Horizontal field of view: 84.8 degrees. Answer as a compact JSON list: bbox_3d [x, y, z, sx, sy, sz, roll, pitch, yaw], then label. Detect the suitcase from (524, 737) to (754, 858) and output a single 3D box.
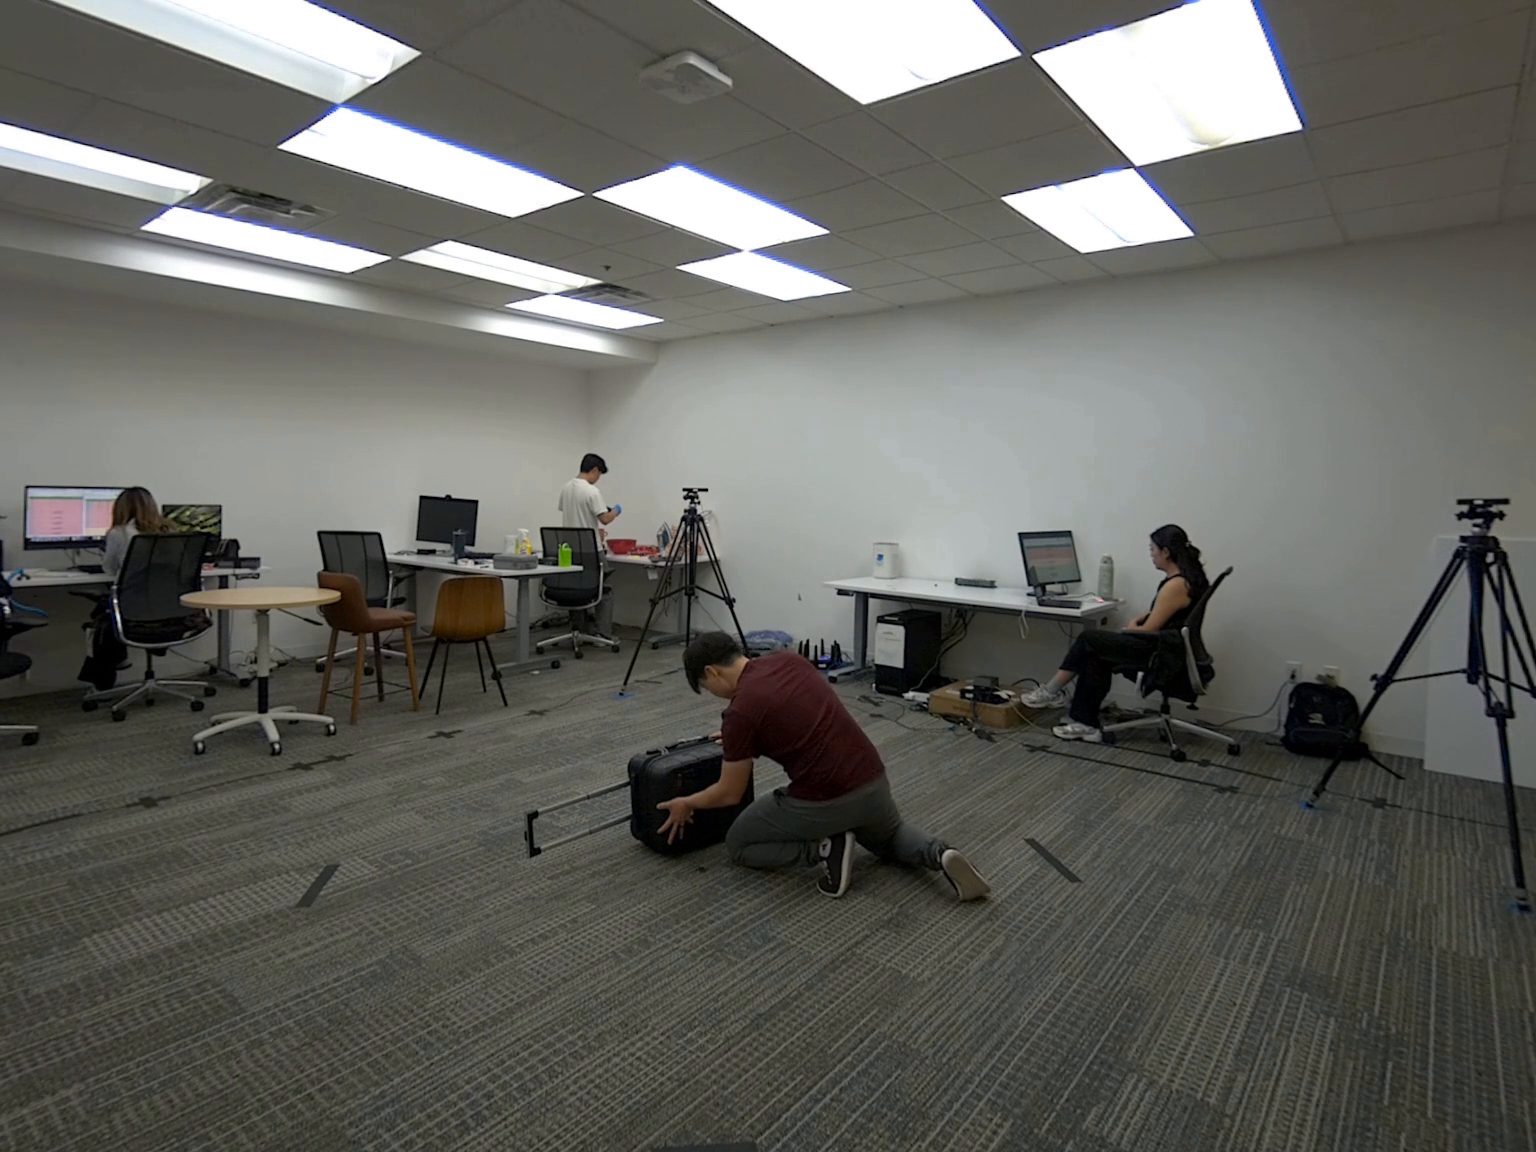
[{"bbox_3d":[-0.445,0.866,3.254,0.265,0.383,0.950,1,4,44],"label":"suitcase"}]
